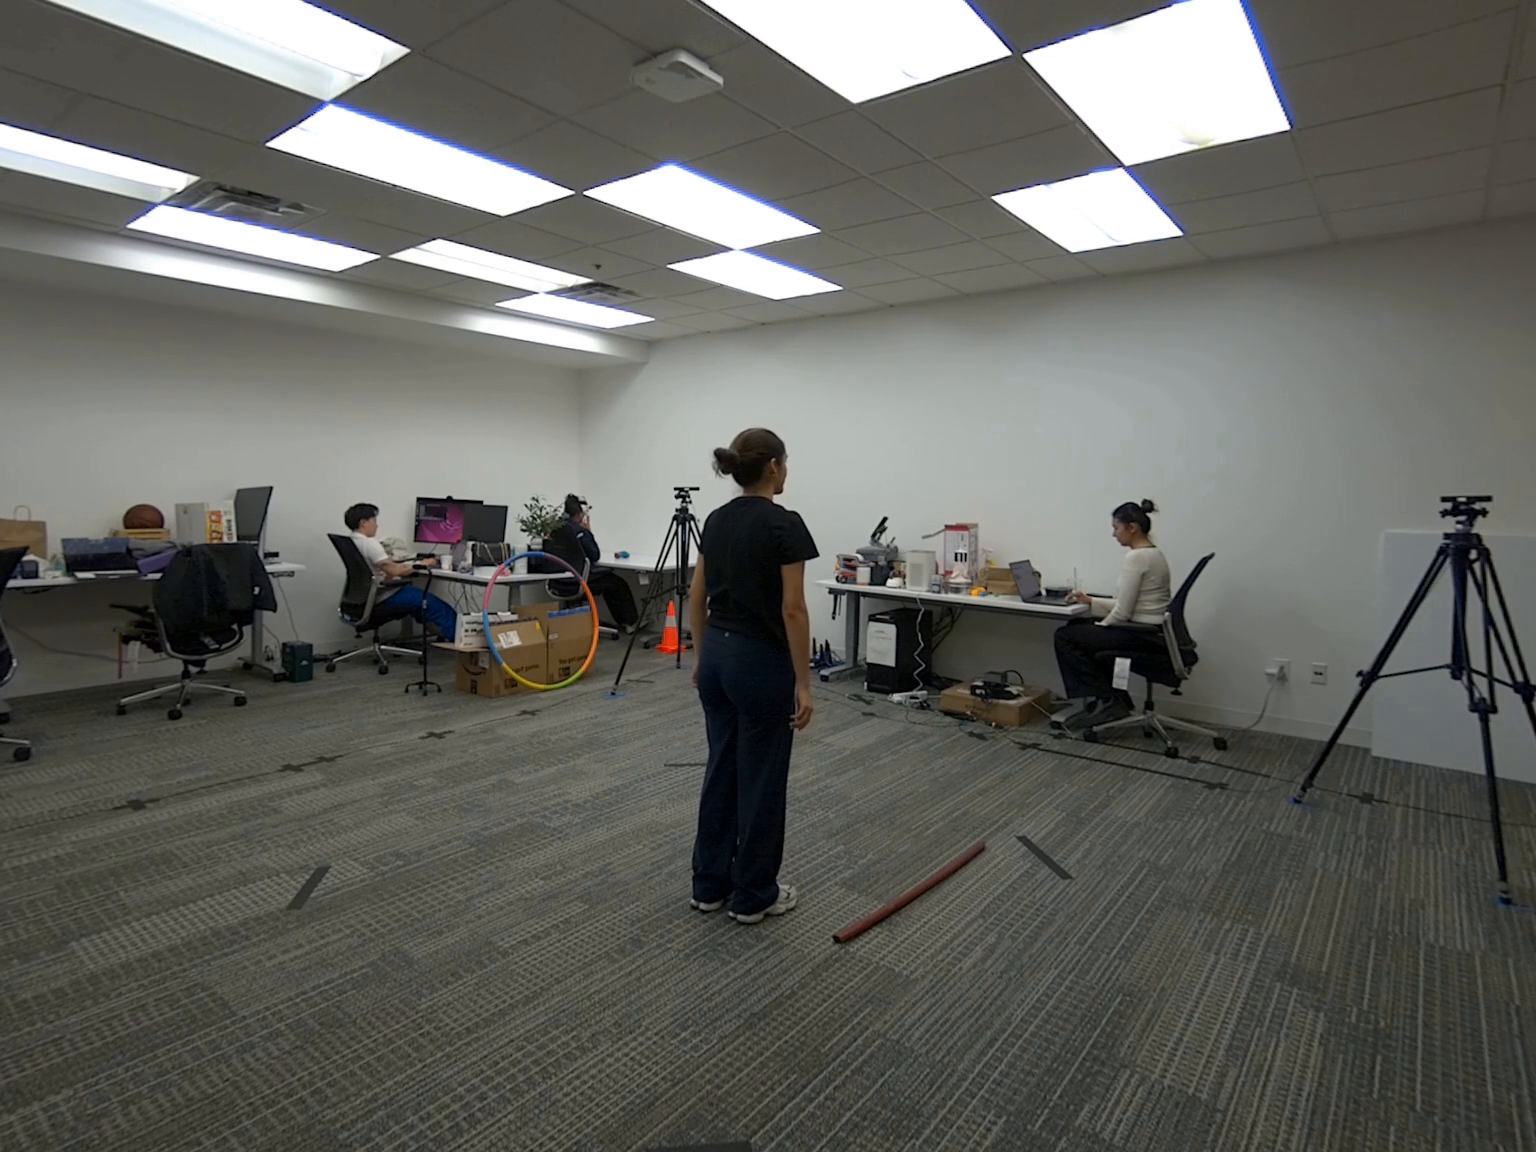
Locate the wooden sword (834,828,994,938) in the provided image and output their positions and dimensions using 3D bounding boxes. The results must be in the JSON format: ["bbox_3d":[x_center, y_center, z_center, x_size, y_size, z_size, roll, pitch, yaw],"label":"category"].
[{"bbox_3d":[0.553,1.065,2.992,0.053,0.024,0.994,27,21,36],"label":"wooden sword"}]
